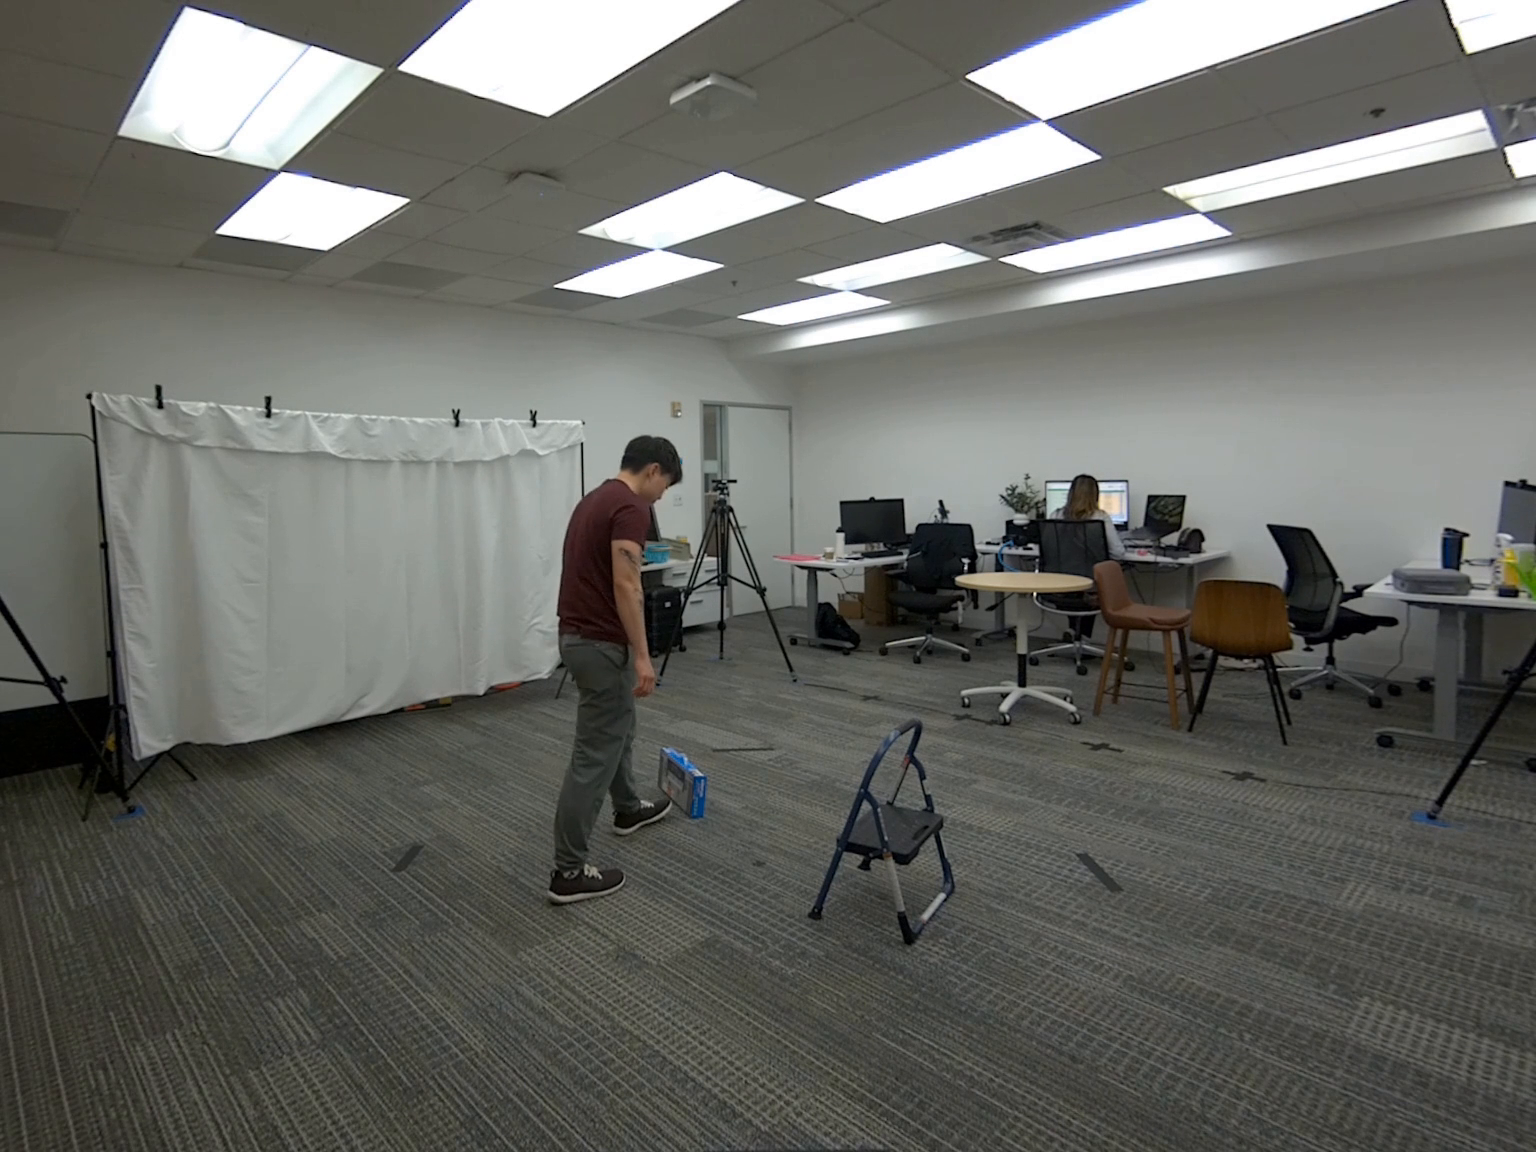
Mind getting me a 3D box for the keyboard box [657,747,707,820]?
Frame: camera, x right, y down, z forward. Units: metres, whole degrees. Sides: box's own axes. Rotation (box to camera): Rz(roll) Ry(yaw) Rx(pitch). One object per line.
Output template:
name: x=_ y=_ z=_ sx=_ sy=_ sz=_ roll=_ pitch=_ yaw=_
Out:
keyboard box: x=-0.378 y=0.898 z=3.737 sx=0.058 sy=0.176 sz=0.447 roll=5 pitch=3 yaw=-25
